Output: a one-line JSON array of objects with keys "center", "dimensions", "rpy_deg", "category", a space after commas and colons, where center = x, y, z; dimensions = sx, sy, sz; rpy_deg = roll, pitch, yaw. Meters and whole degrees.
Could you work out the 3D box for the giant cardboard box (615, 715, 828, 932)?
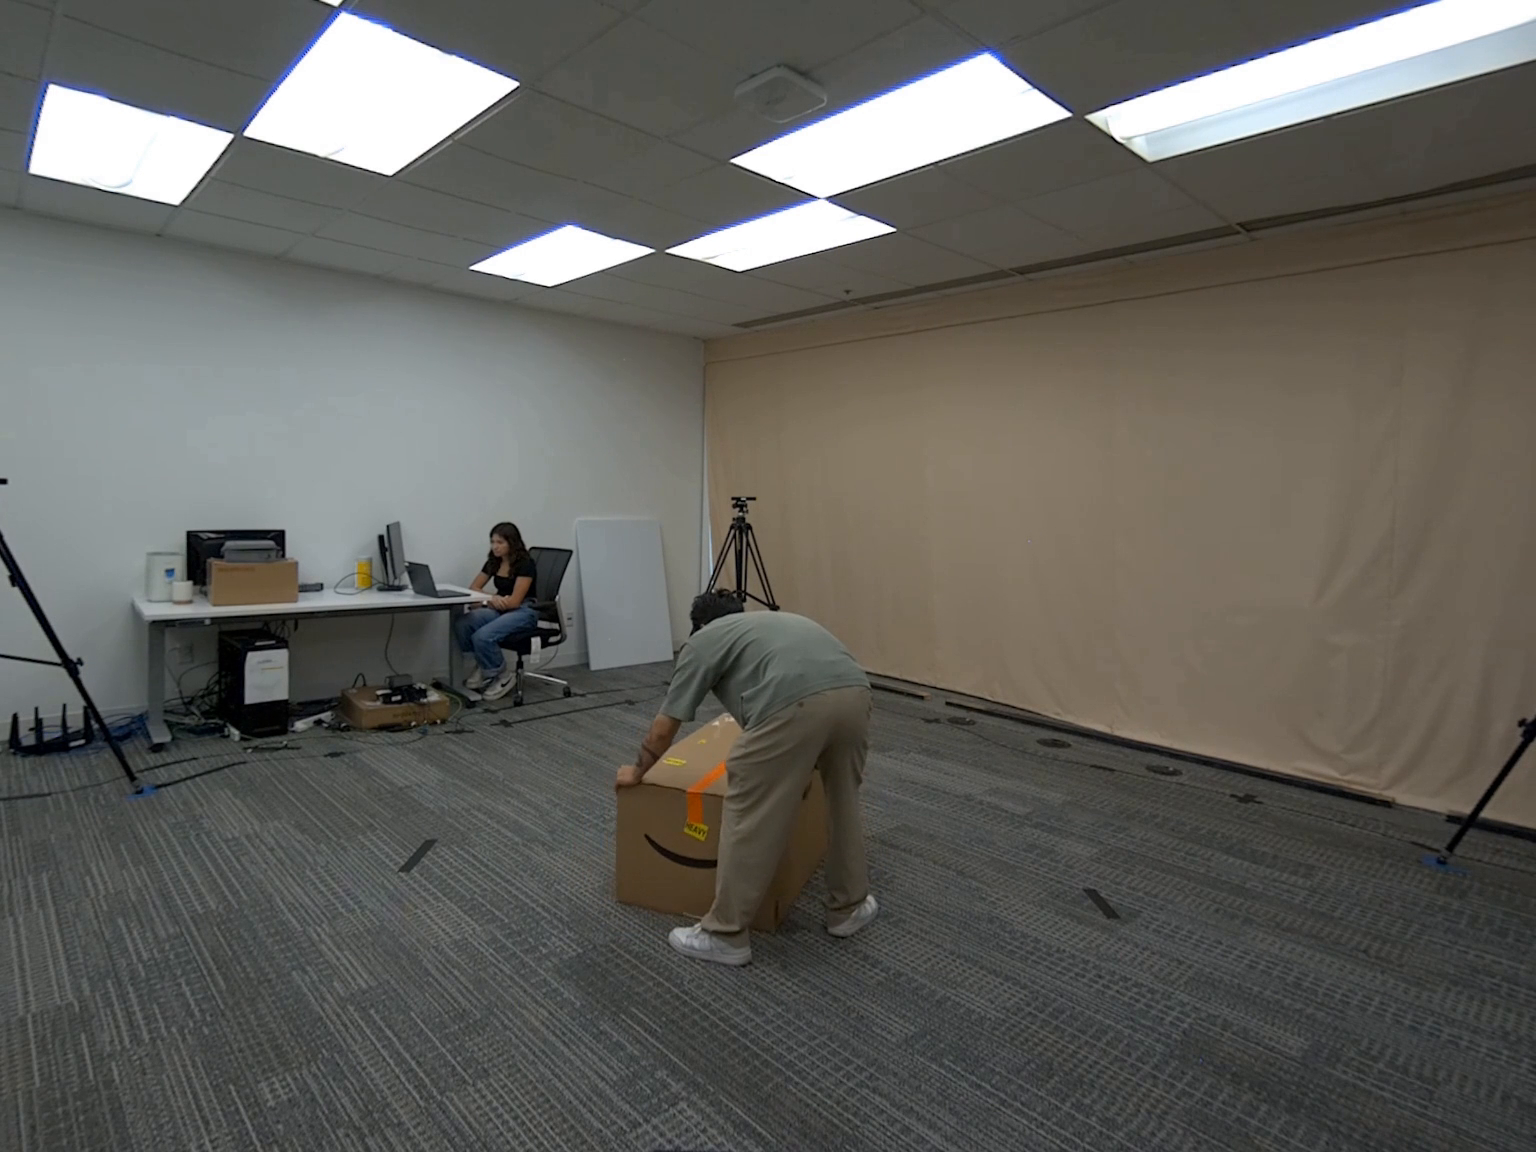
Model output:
[{"center": [-0.101, 0.878, 3.261], "dimensions": [0.587, 0.424, 1.013], "rpy_deg": [4, 6, 19], "category": "giant cardboard box"}]
